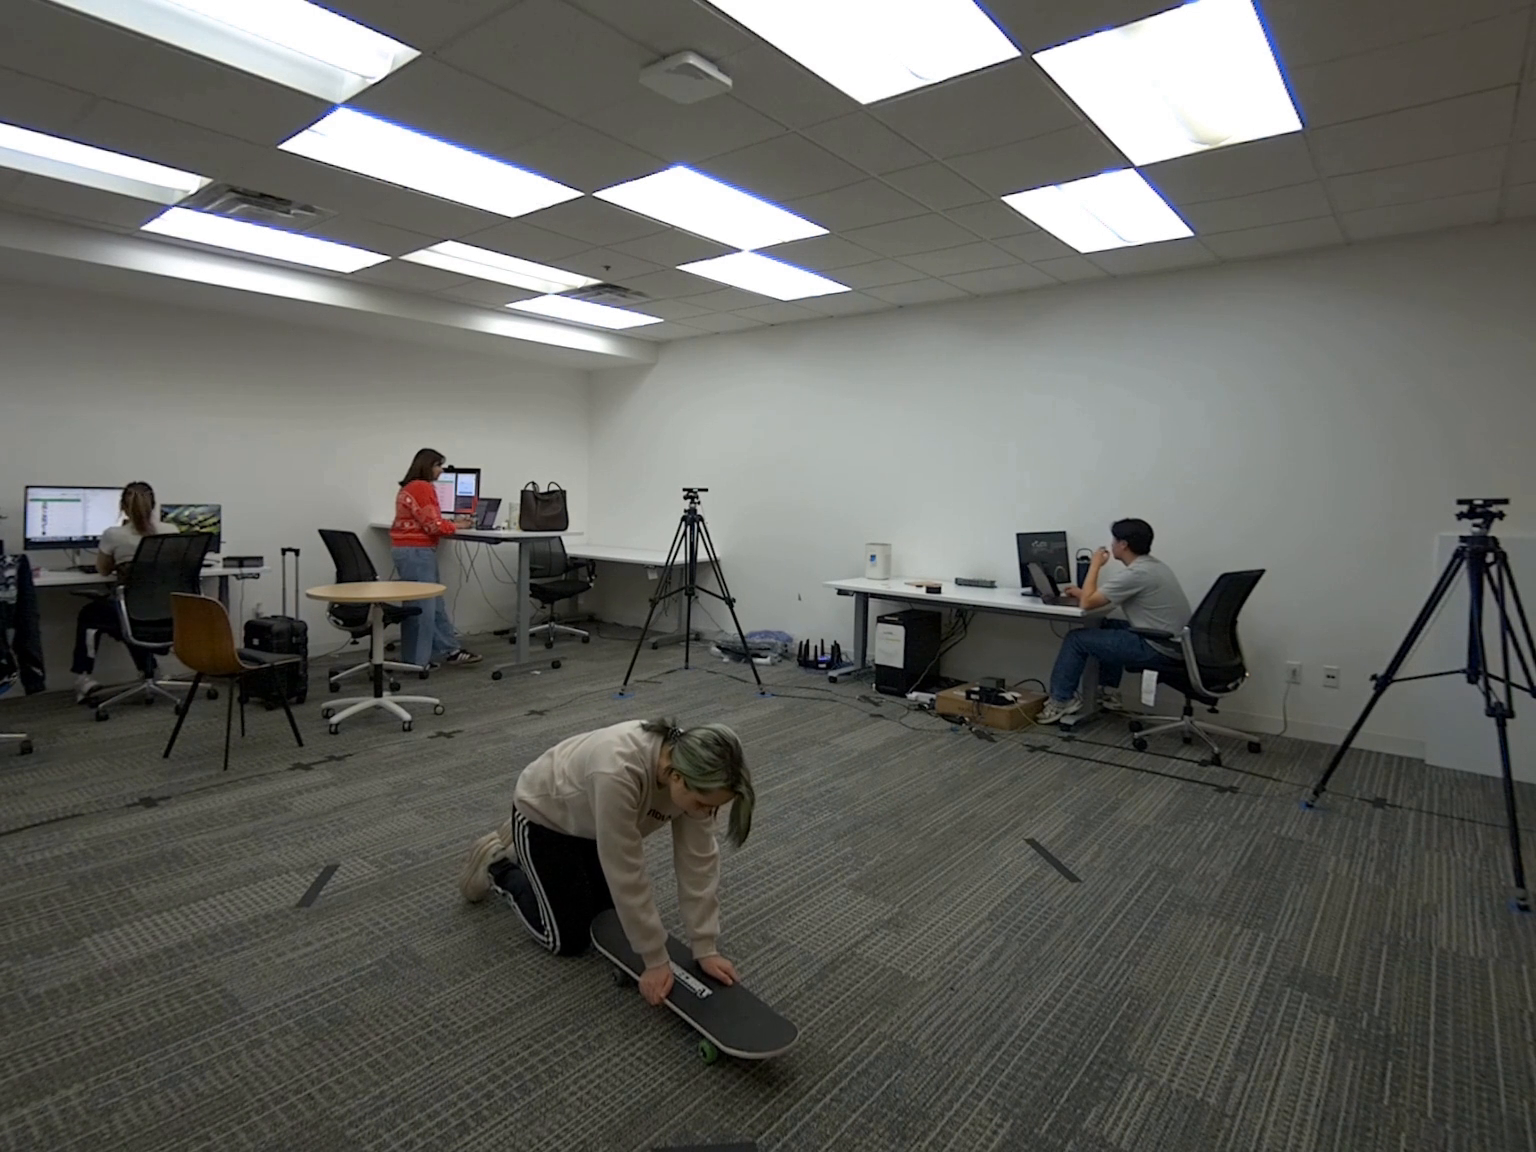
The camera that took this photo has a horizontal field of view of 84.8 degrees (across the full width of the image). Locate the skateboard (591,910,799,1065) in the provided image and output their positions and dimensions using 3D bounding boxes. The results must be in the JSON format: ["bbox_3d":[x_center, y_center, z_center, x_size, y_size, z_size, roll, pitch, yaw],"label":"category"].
[{"bbox_3d":[-0.232,1.098,2.266,0.188,0.110,0.812,-5,8,-41],"label":"skateboard"}]
